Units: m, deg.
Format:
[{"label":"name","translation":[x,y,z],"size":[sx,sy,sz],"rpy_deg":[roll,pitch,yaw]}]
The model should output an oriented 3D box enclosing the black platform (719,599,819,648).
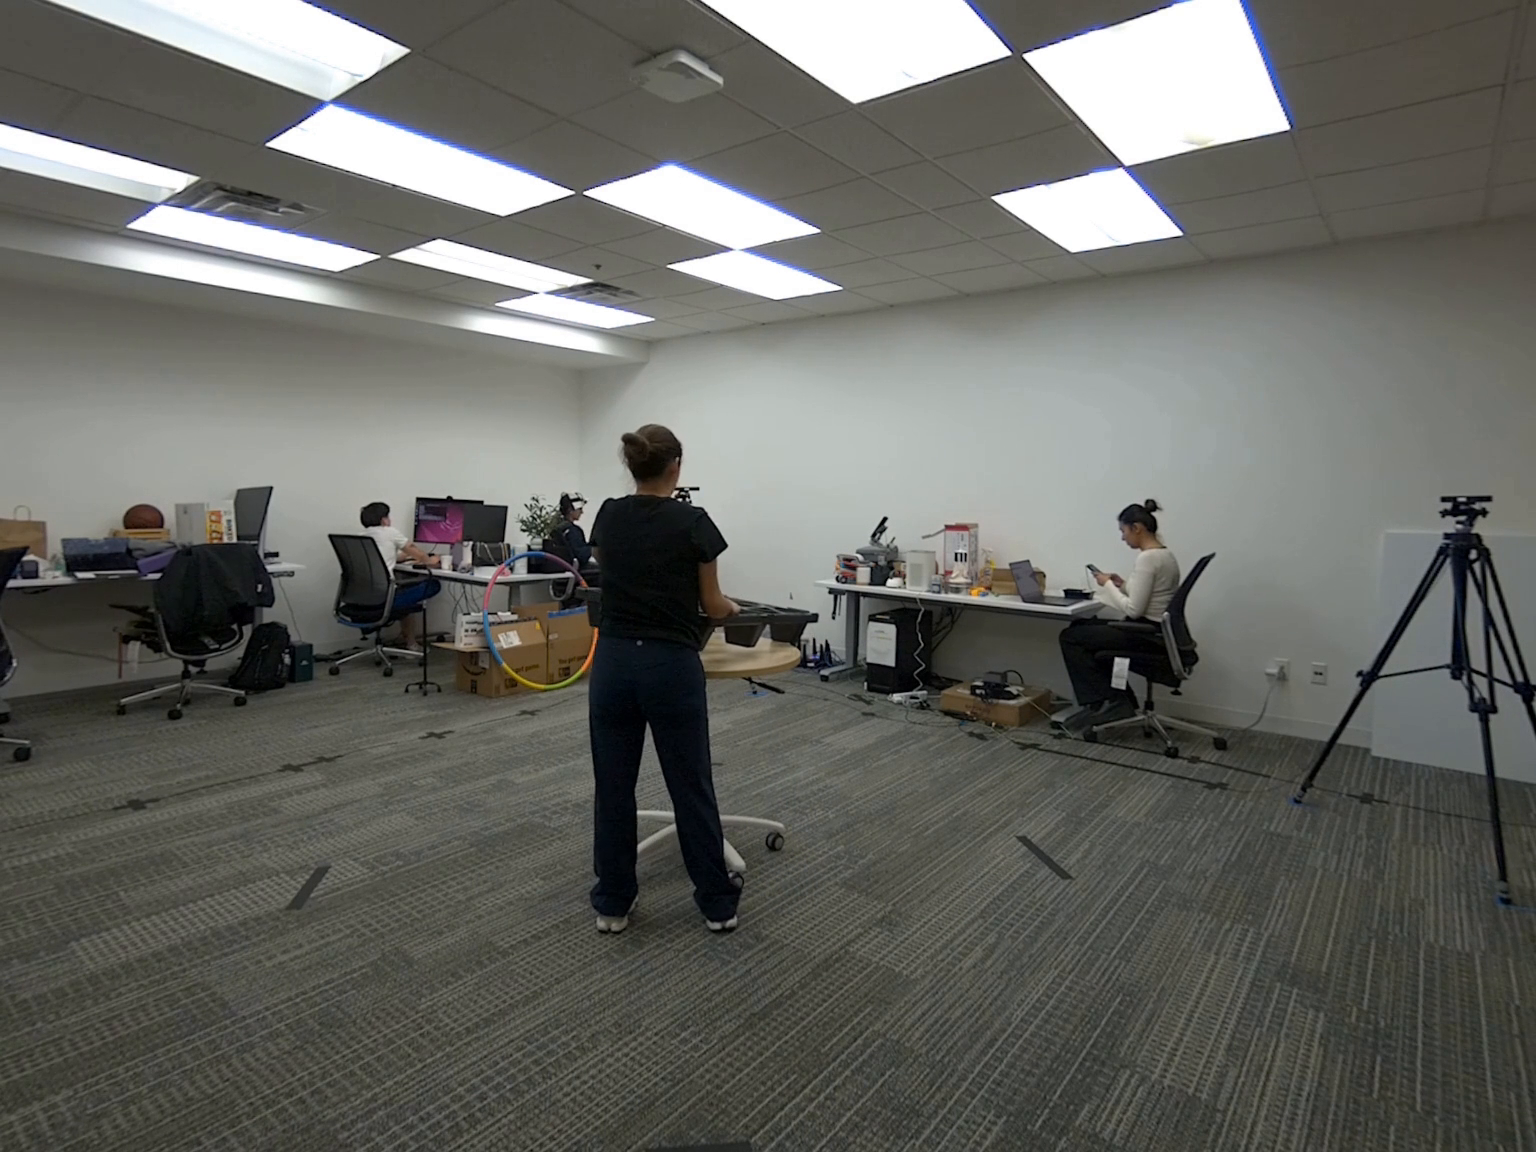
[{"label":"black platform","translation":[-0.226,0.158,3.244],"size":[0.625,0.143,0.780],"rpy_deg":[9,3,33]}]
